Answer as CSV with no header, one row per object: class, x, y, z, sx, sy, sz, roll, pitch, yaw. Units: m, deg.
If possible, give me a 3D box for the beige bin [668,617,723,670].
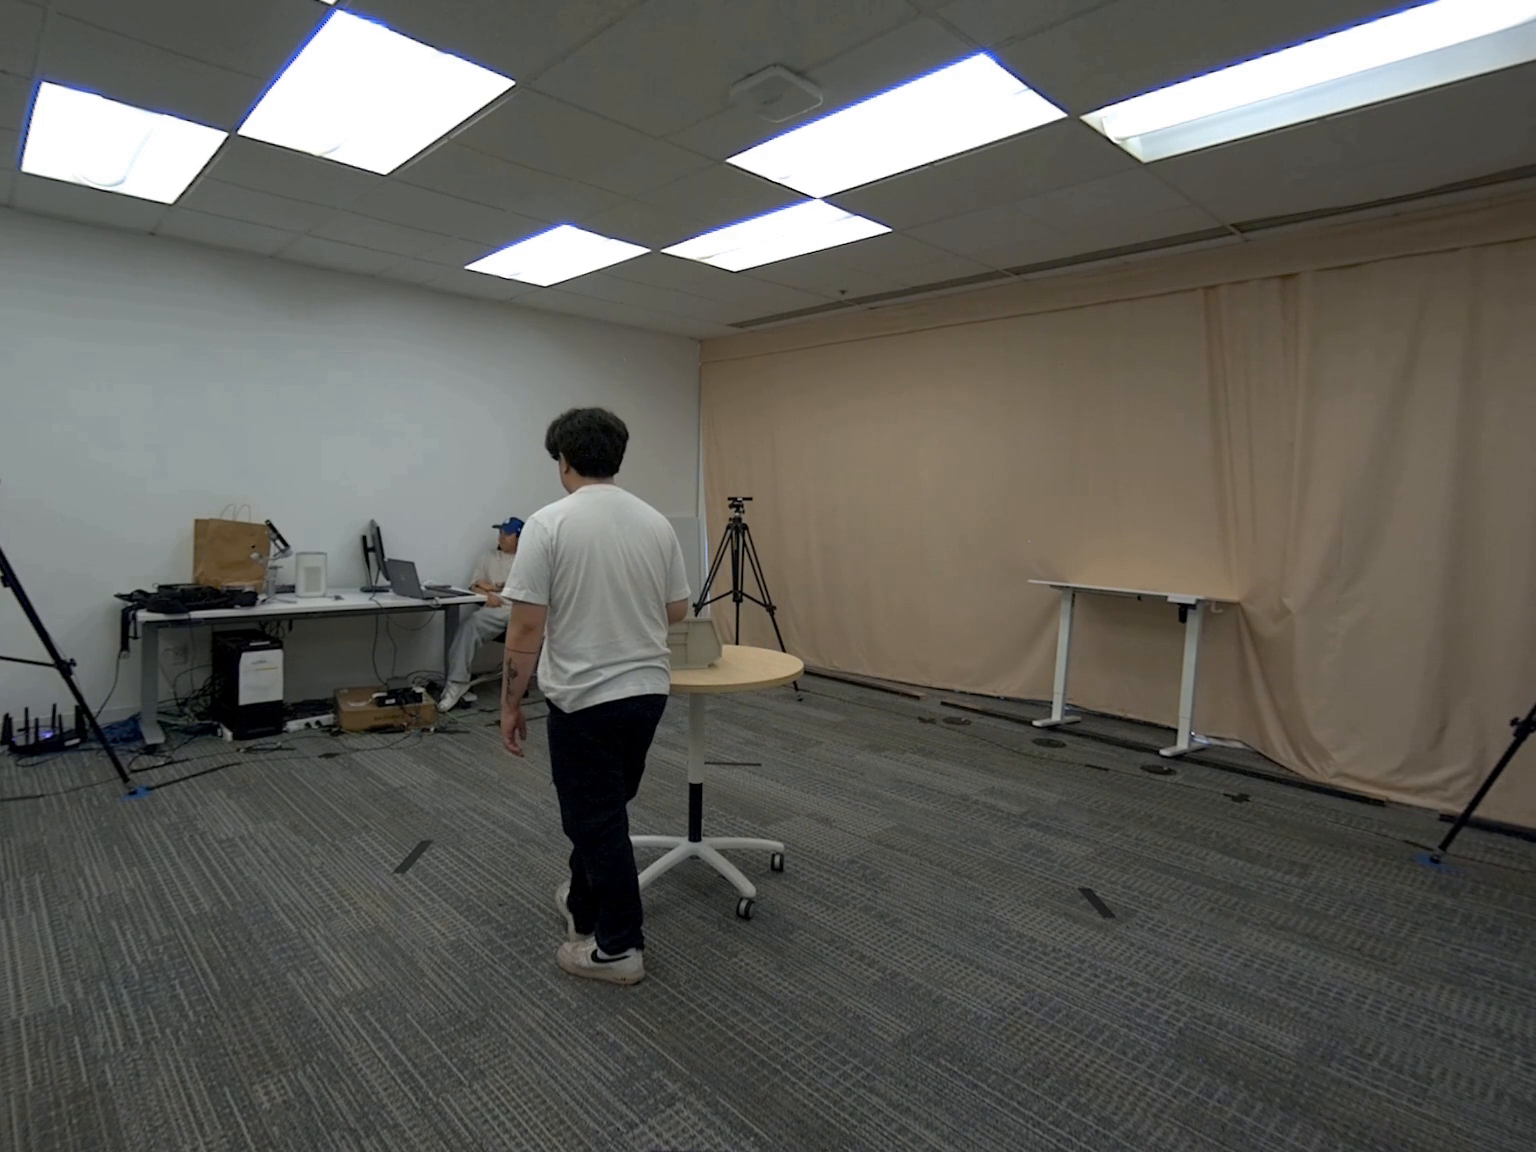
beige bin,-0.403,0.223,3.091,0.373,0.188,0.428,-1,4,-16
